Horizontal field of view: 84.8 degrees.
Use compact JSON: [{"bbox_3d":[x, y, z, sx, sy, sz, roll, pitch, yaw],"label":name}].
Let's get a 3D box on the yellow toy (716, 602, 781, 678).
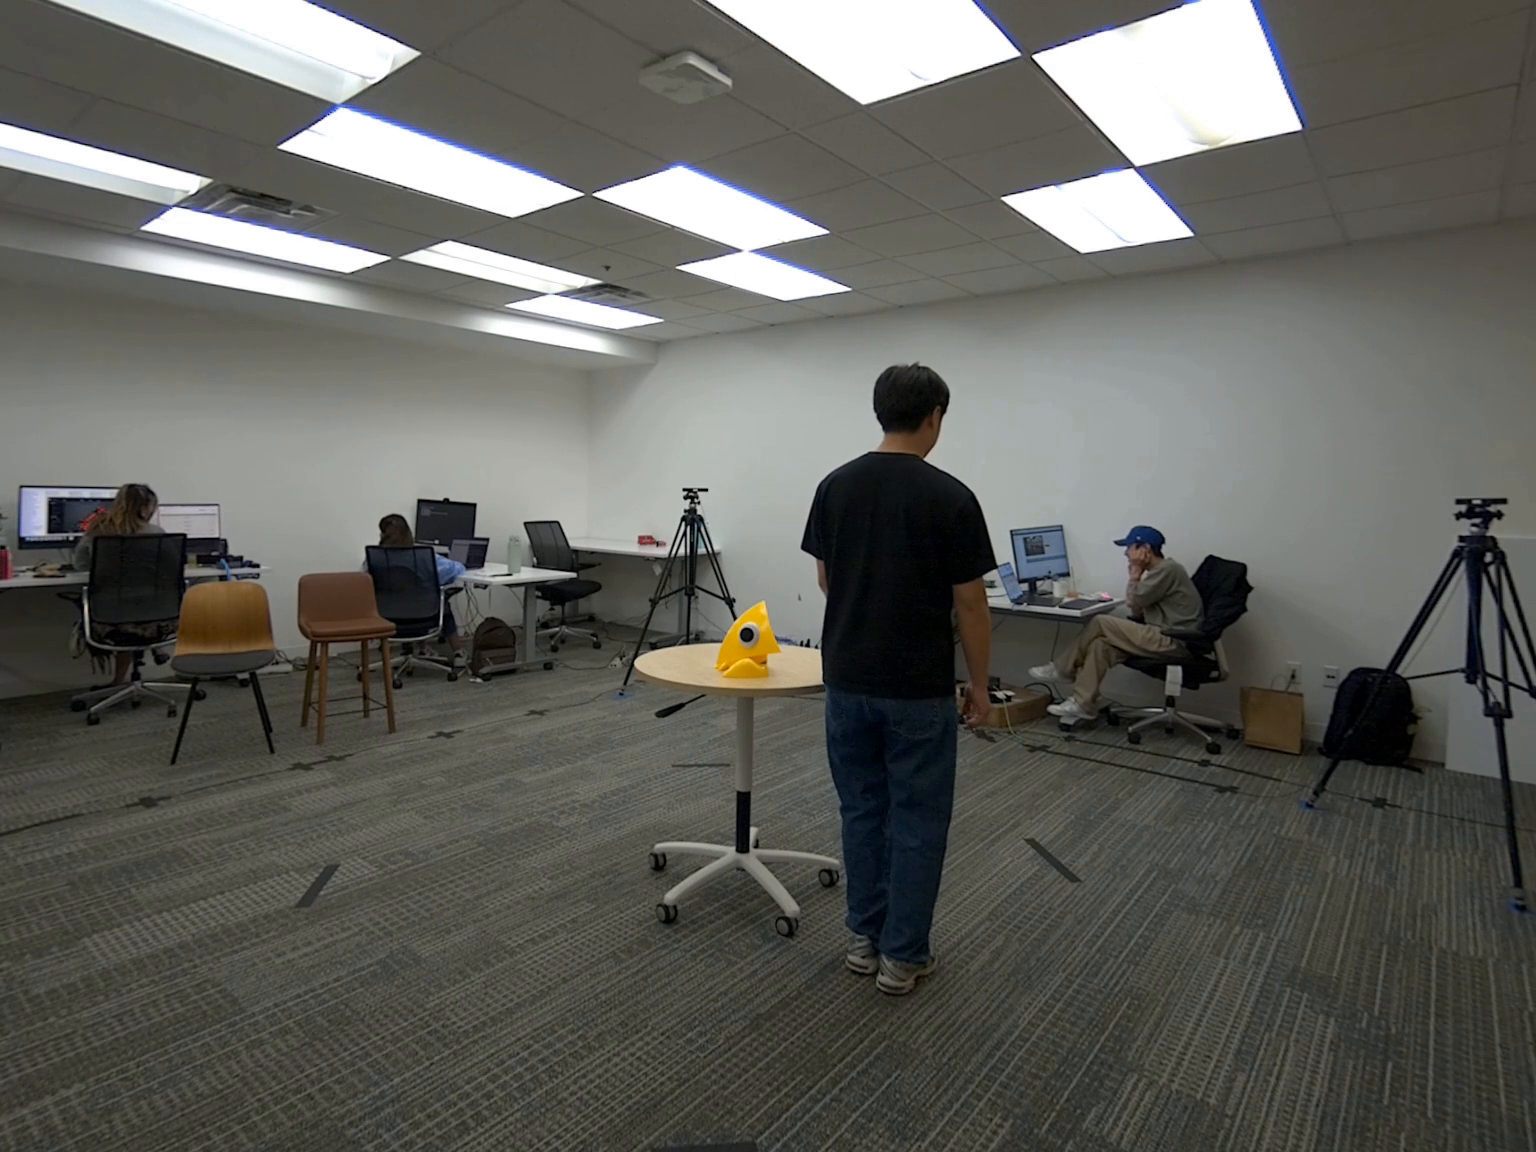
[{"bbox_3d":[-0.080,0.193,2.765,0.190,0.230,0.208,1,4,-14],"label":"yellow toy"}]
